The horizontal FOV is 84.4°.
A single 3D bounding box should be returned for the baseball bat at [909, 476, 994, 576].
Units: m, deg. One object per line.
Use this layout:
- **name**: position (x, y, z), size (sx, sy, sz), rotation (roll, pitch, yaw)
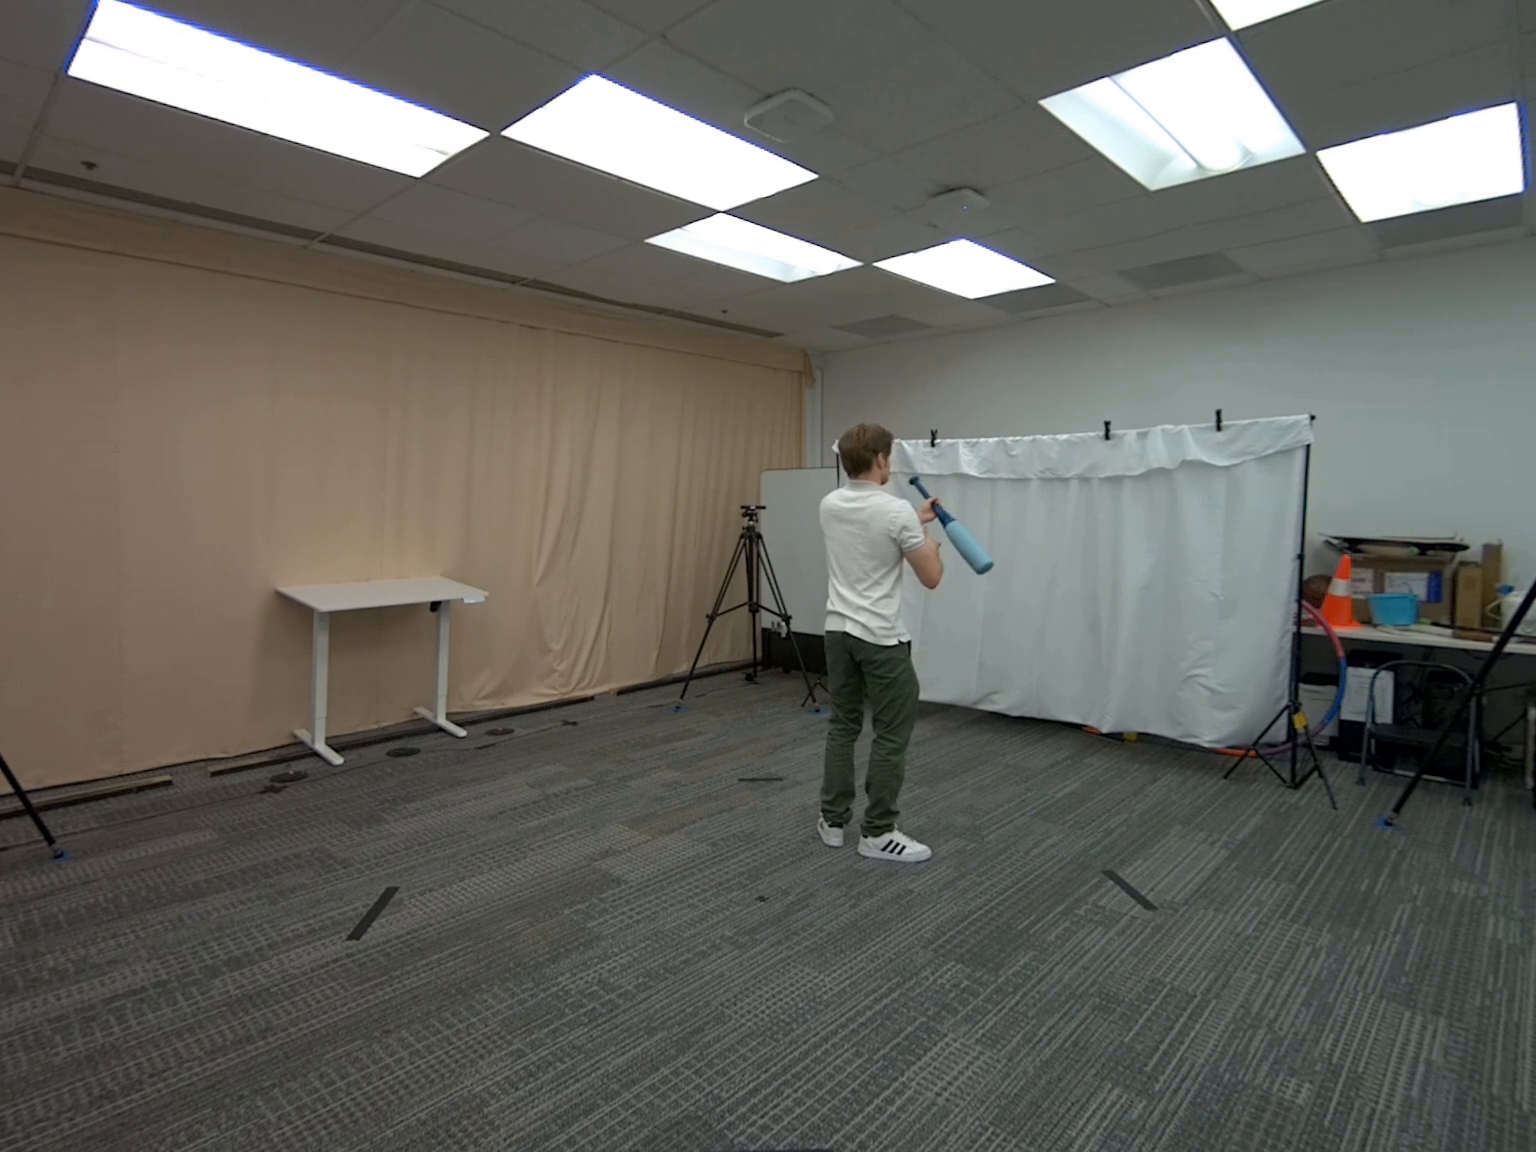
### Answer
- **baseball bat**: position (0.769, -0.224, 3.579), size (0.088, 0.559, 0.087), rotation (-22, -31, -16)
